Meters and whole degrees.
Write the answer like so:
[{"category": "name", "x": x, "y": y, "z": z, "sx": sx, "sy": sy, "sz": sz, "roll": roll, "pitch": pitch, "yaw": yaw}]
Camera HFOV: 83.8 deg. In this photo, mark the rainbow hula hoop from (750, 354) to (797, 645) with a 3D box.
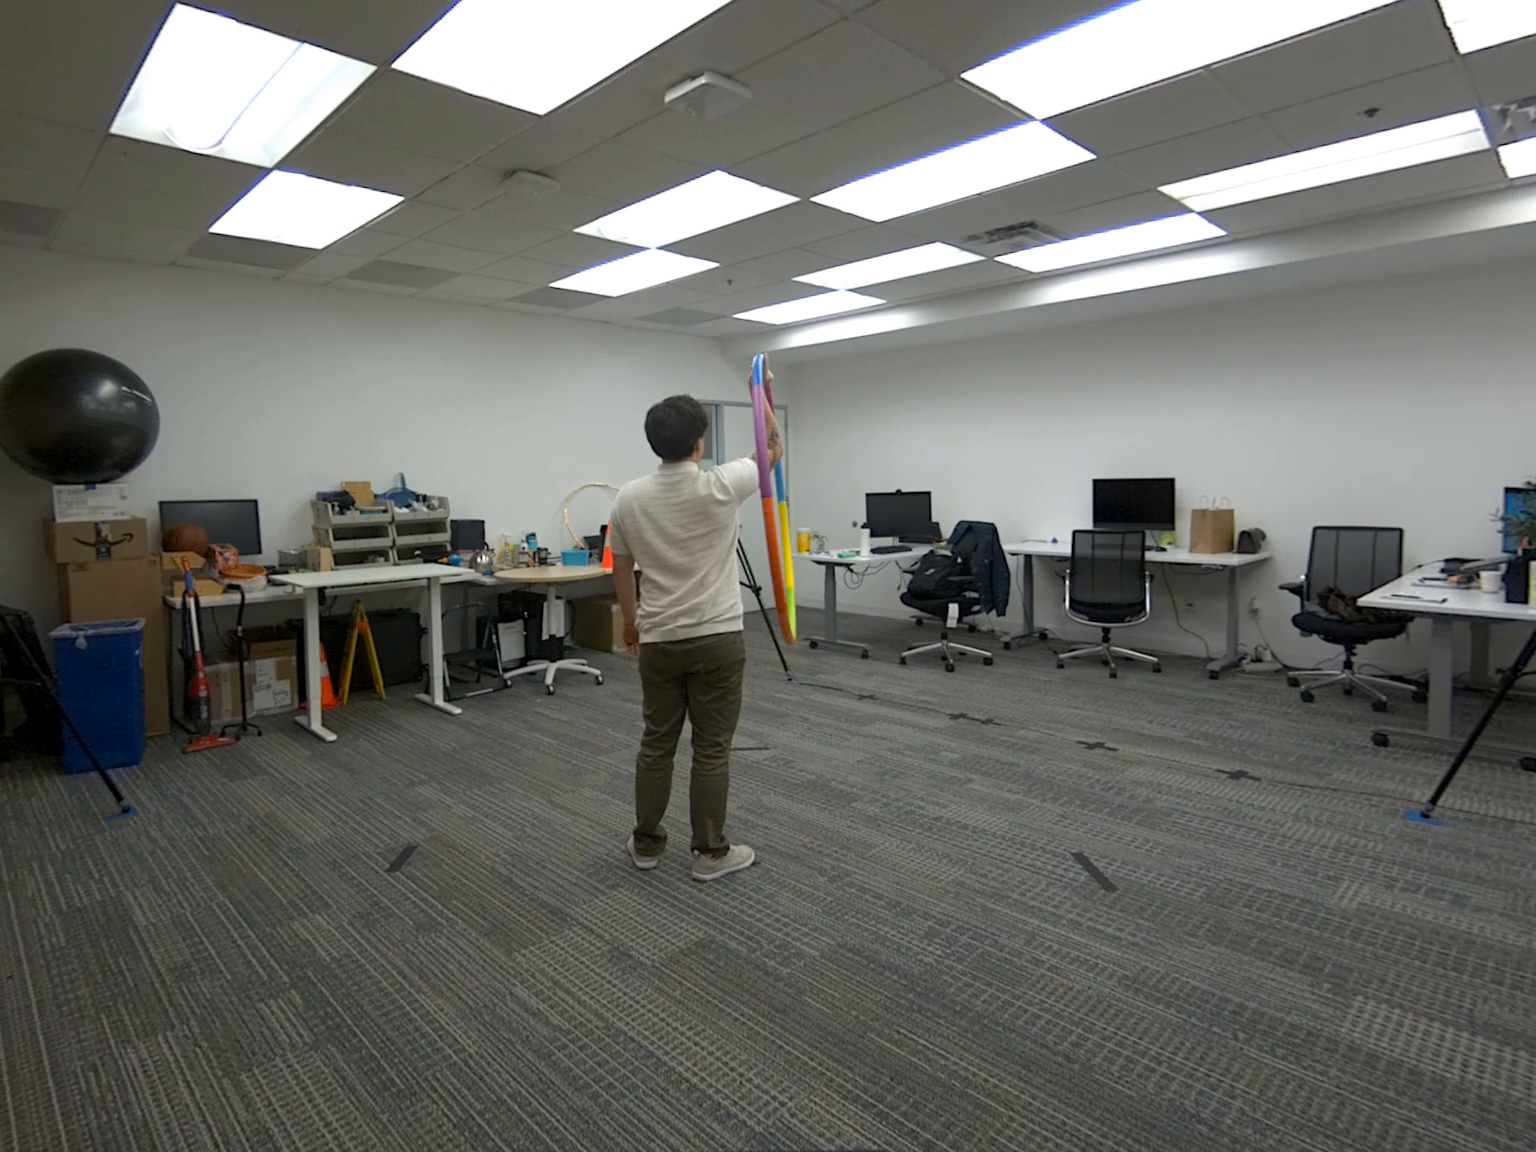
[{"category": "rainbow hula hoop", "x": 0.024, "y": -0.258, "z": 2.940, "sx": 0.036, "sy": 0.975, "sz": 0.977, "roll": -5, "pitch": 4, "yaw": 4}]
